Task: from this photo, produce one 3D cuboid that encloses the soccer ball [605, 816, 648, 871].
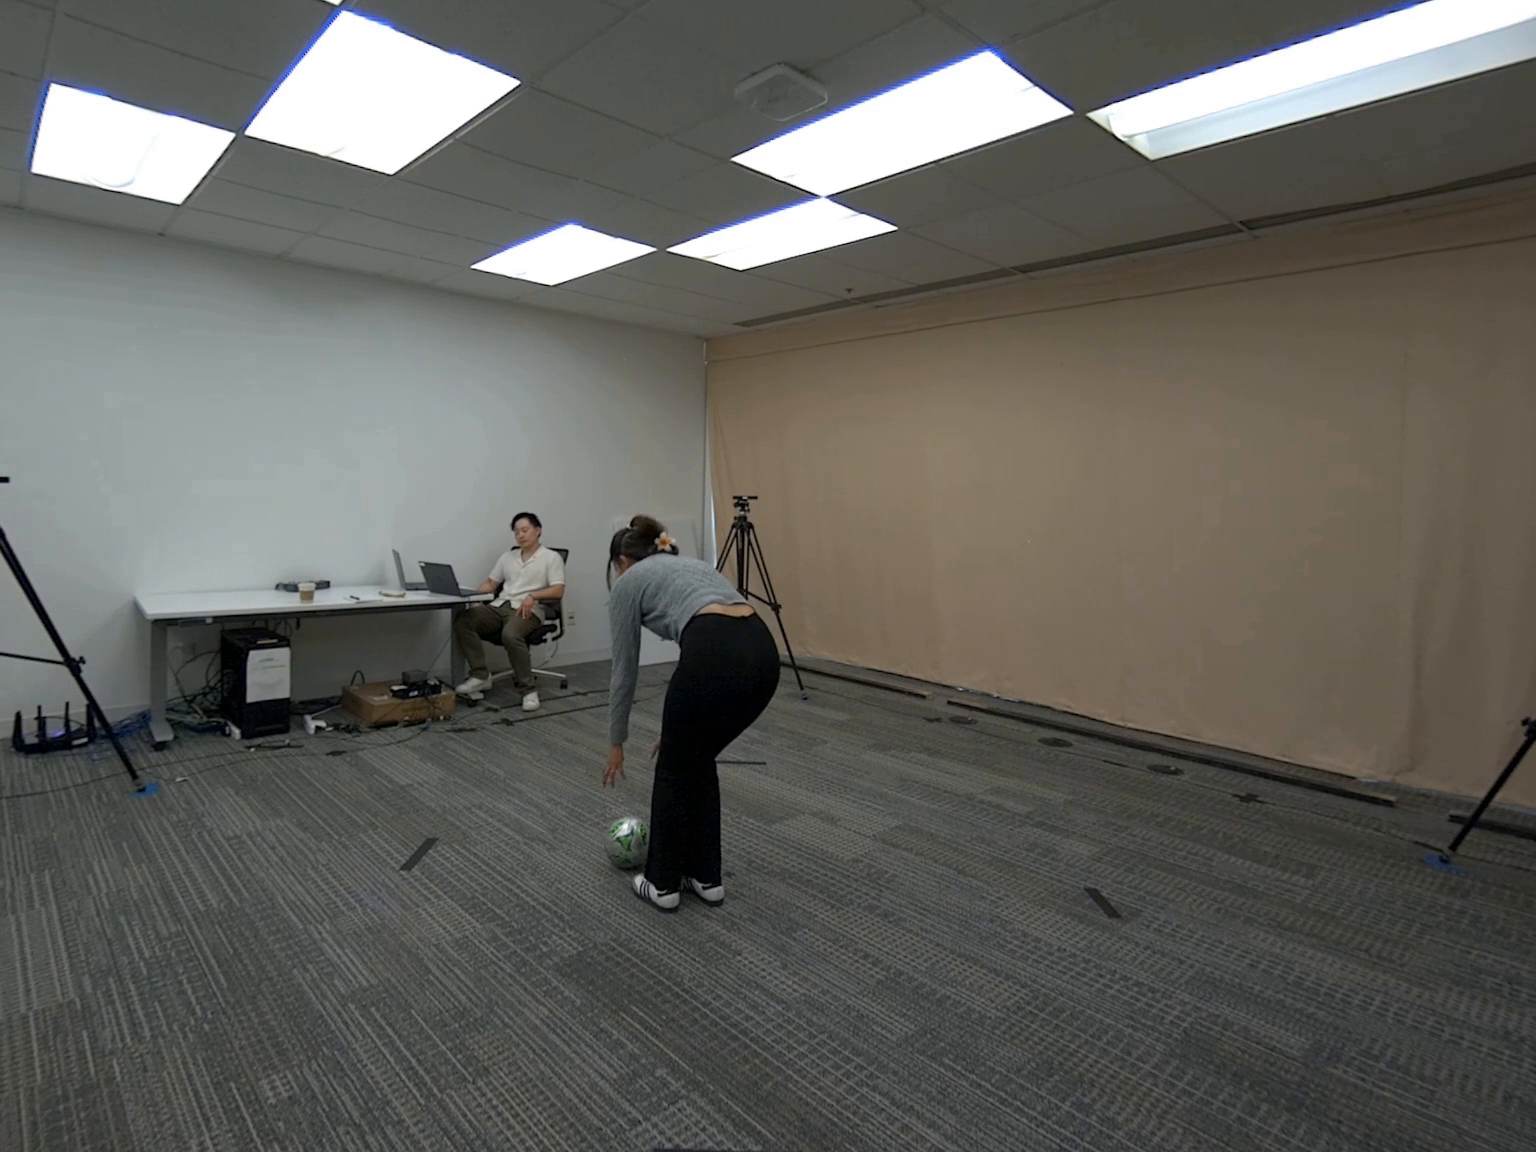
[{"bbox_3d":[-0.532,0.998,3.148,0.187,0.187,0.188,1,4,-1],"label":"soccer ball"}]
